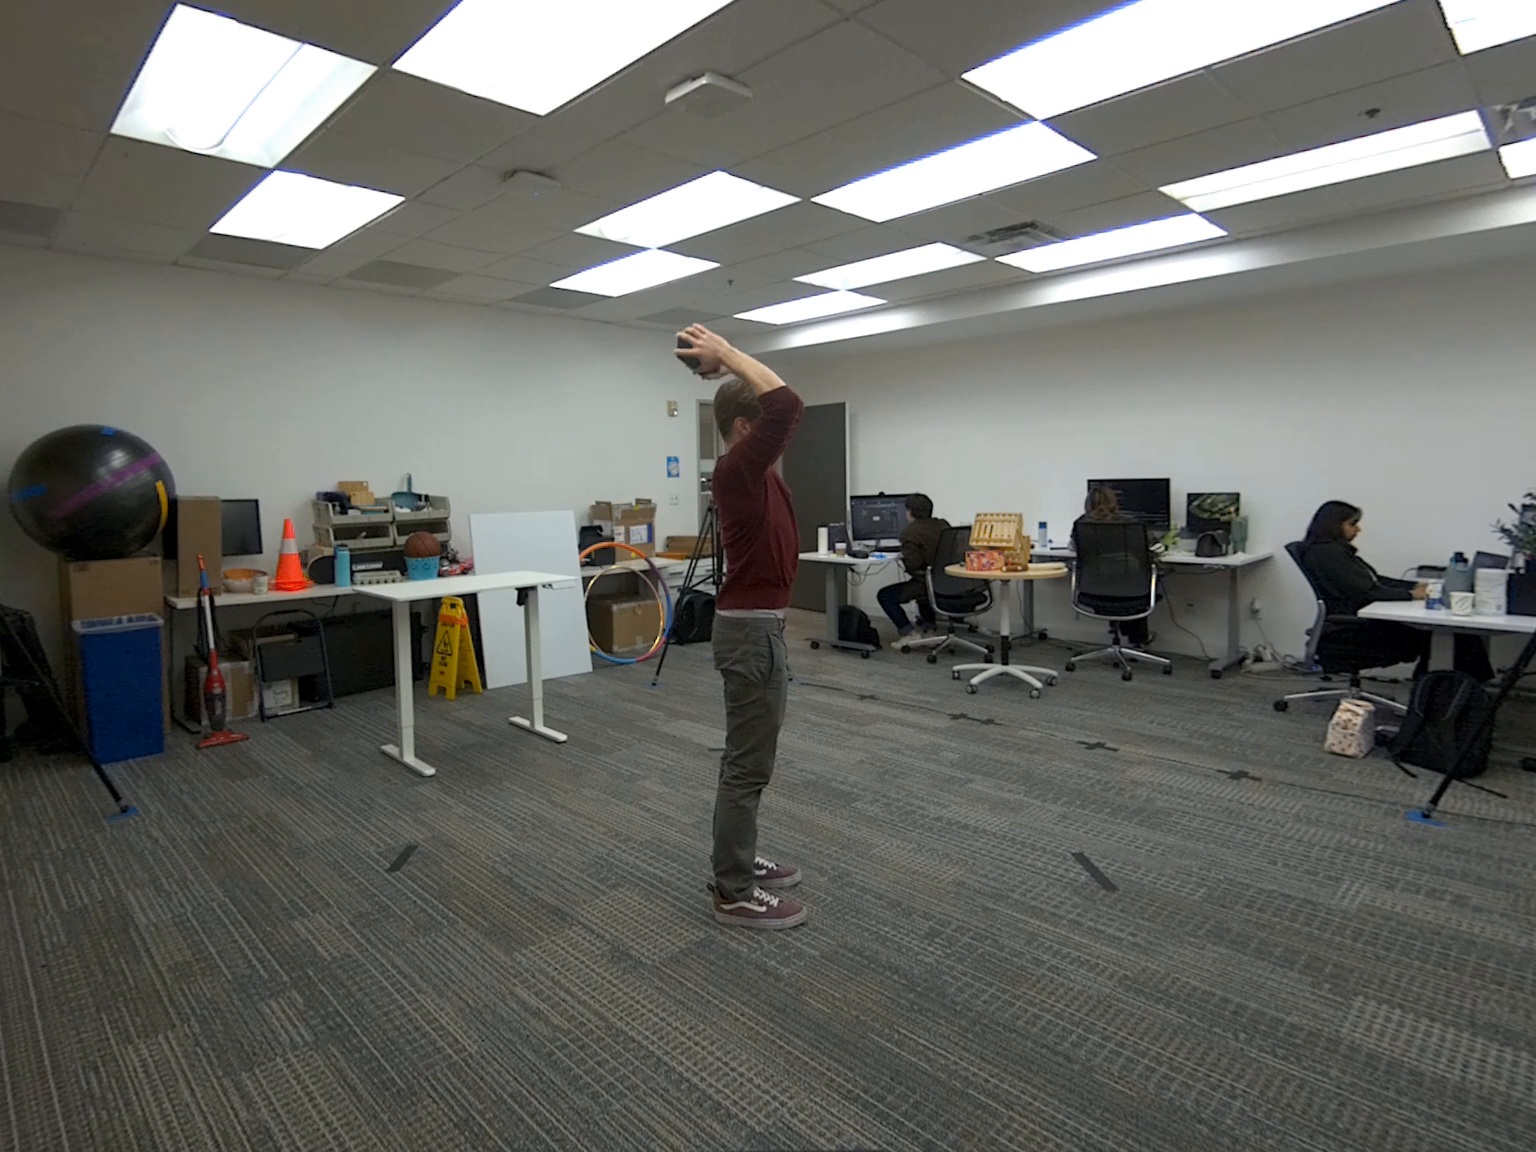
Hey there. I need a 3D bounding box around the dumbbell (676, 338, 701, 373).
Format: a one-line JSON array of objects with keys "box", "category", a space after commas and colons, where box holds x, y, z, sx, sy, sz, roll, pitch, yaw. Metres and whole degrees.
[{"box": [-0.196, -0.709, 2.708, 0.123, 0.108, 0.294, -27, 6, 6], "category": "dumbbell"}]
